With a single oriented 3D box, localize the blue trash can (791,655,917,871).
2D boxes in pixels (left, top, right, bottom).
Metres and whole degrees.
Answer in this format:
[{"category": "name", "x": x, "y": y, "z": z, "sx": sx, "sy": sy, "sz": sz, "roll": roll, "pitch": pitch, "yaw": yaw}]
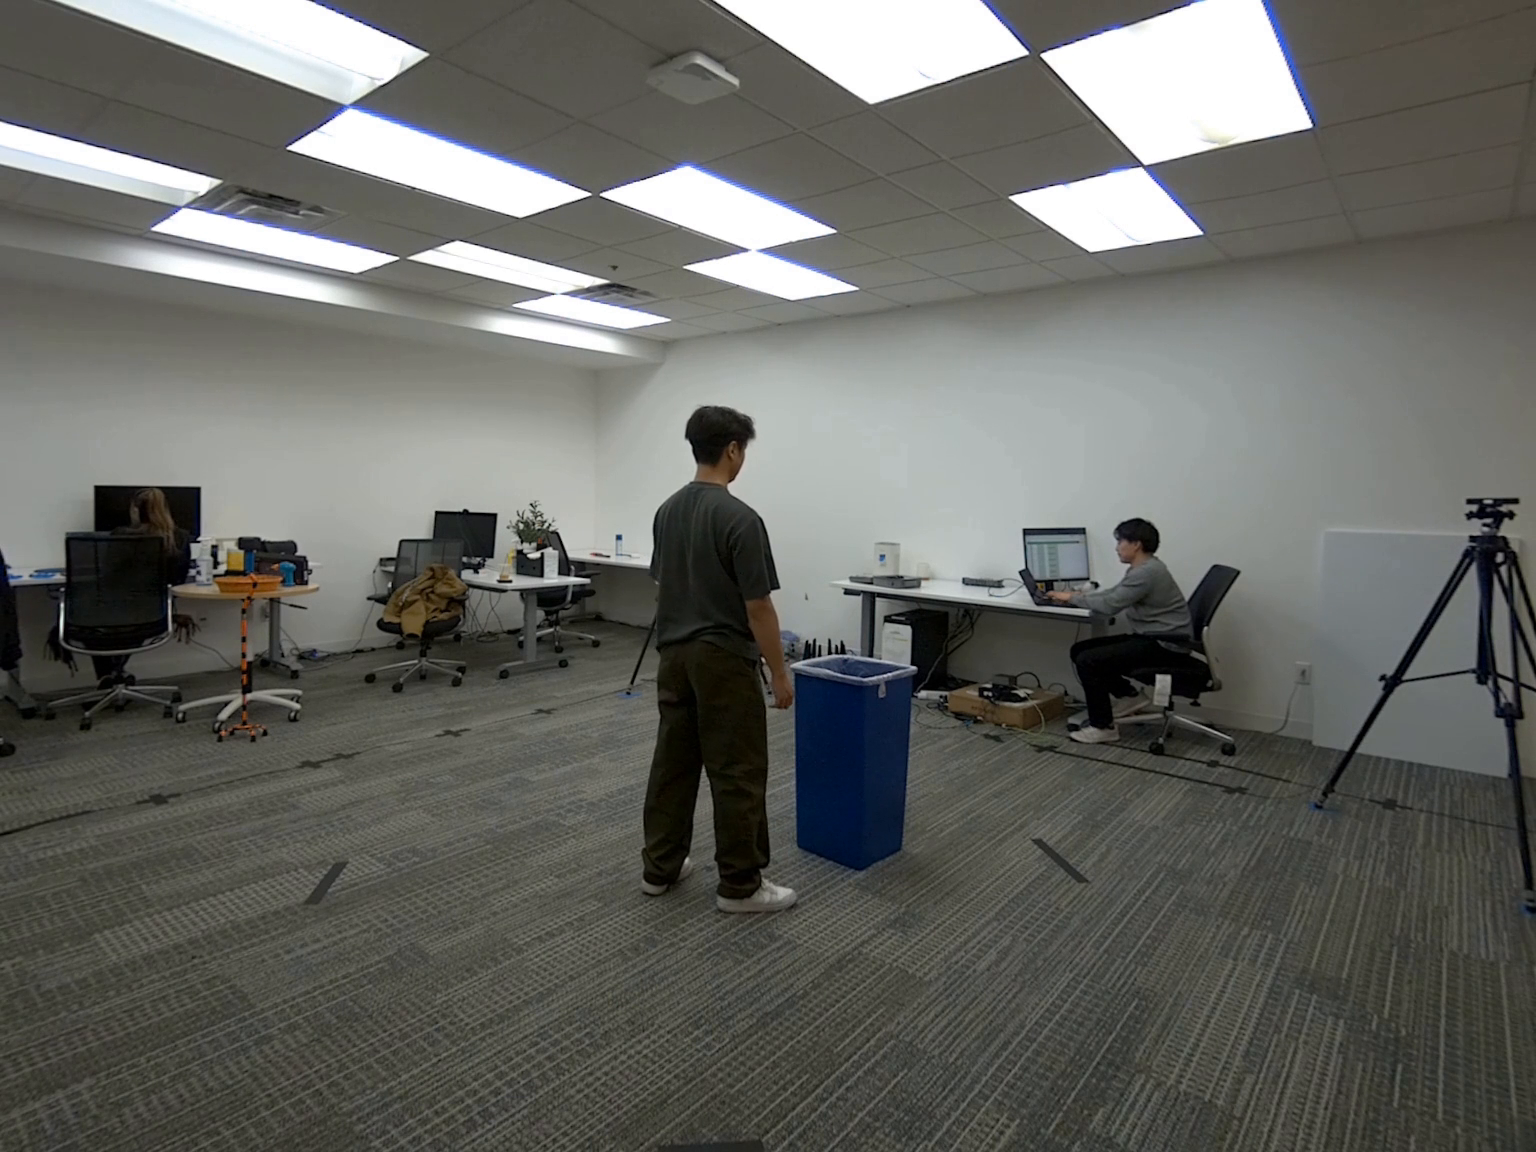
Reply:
[{"category": "blue trash can", "x": 0.313, "y": 0.699, "z": 3.309, "sx": 0.387, "sy": 0.712, "sz": 0.366, "roll": 4, "pitch": 4, "yaw": 42}]
